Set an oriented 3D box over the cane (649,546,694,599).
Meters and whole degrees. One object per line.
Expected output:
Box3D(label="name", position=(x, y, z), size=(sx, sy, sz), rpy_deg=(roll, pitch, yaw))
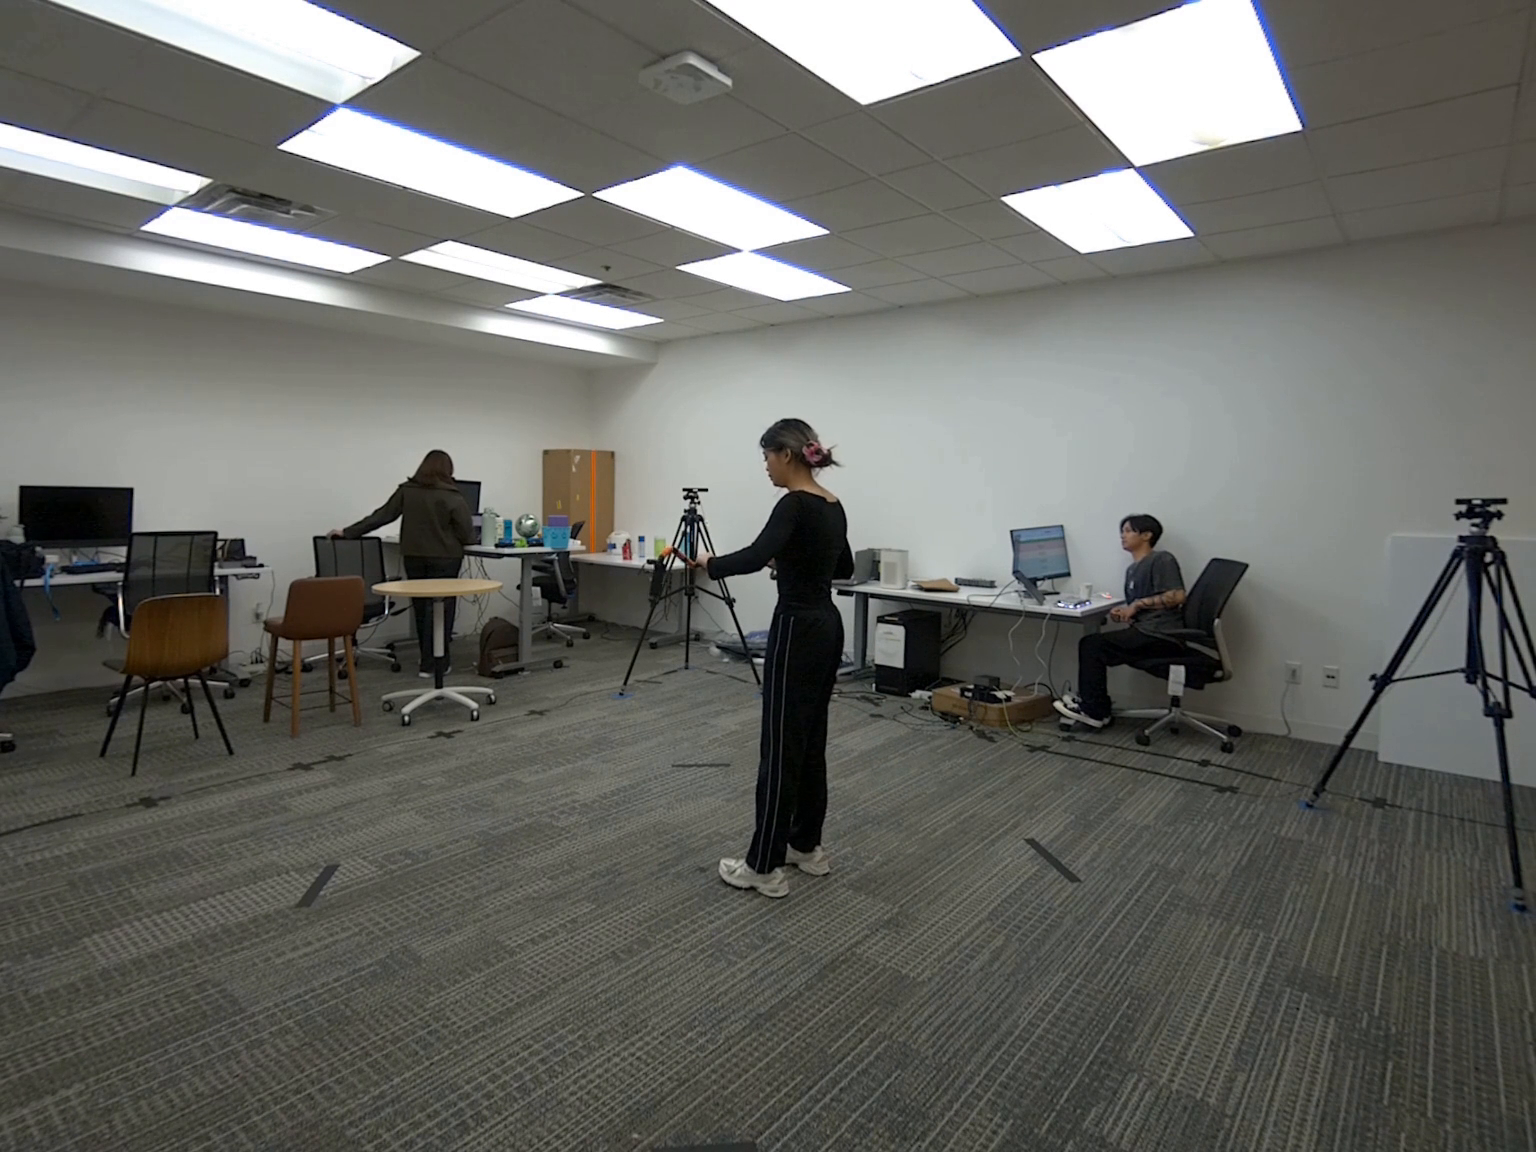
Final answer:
Box3D(label="cane", position=(-0.141, -0.052, 3.110), size=(0.157, 0.205, 0.883), rpy_deg=(13, 9, 30))
